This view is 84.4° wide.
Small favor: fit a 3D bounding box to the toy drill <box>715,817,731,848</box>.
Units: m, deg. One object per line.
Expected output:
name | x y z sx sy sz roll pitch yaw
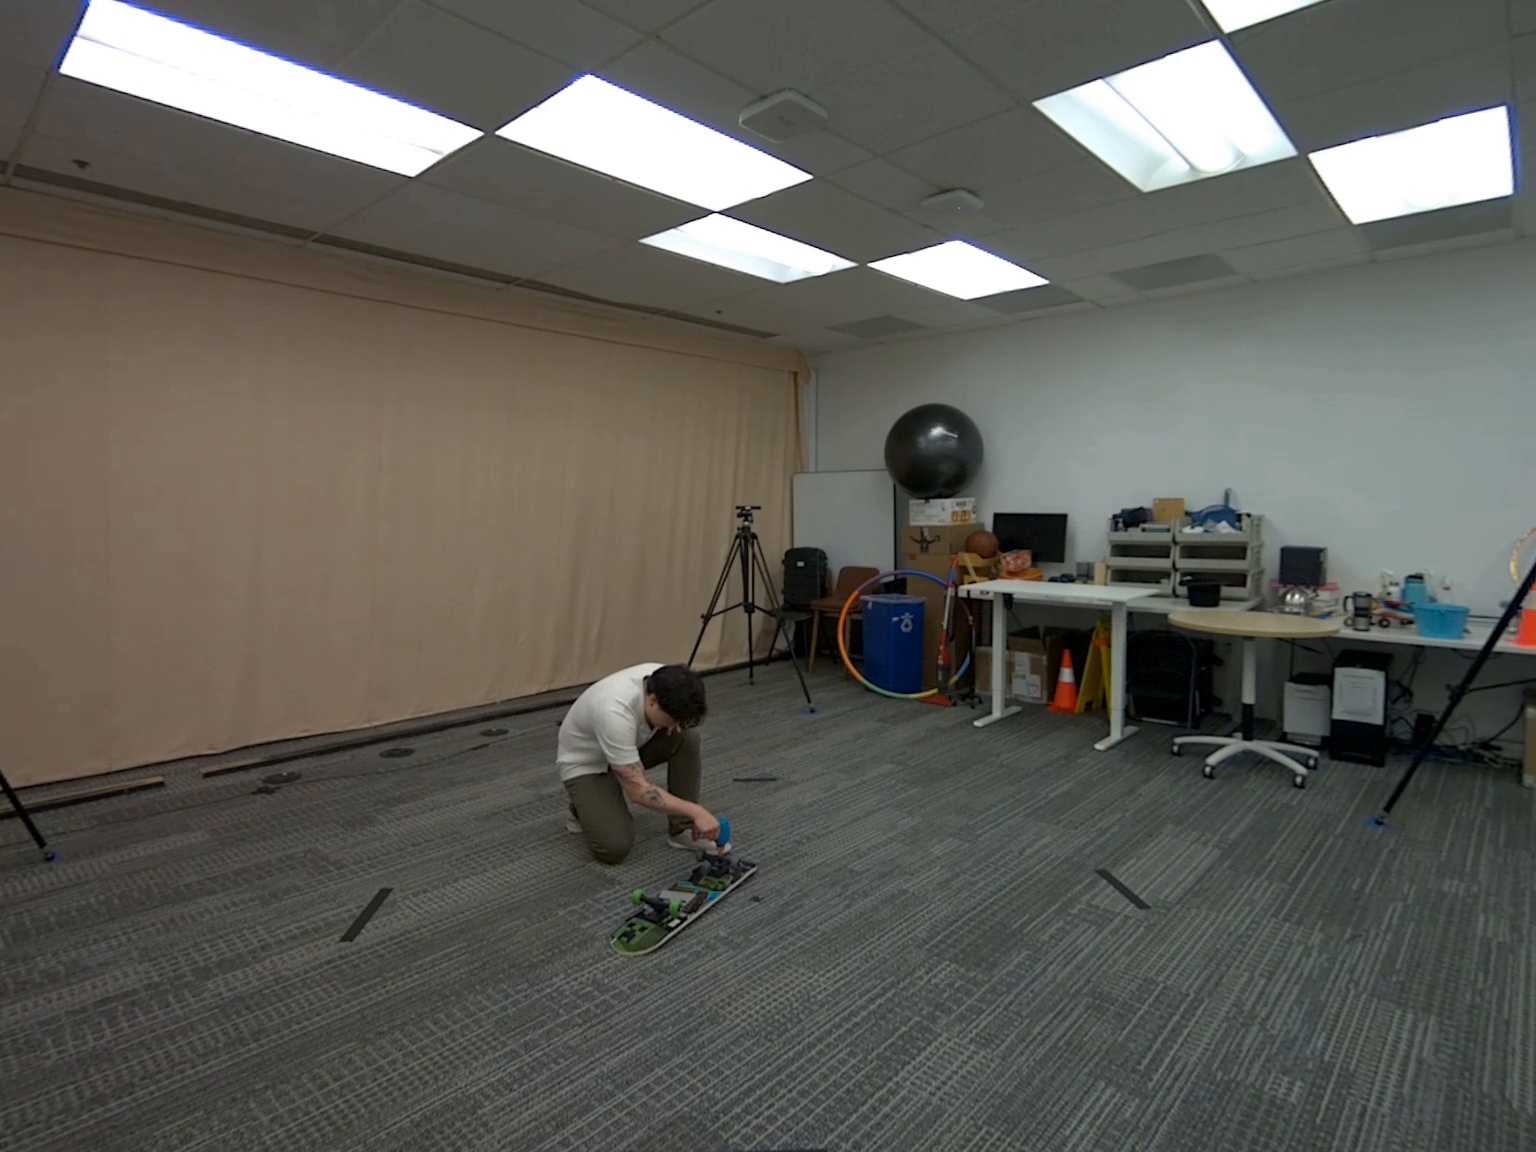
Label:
toy drill | -0.212 0.984 3.136 0.144 0.169 0.062 8 14 -9
